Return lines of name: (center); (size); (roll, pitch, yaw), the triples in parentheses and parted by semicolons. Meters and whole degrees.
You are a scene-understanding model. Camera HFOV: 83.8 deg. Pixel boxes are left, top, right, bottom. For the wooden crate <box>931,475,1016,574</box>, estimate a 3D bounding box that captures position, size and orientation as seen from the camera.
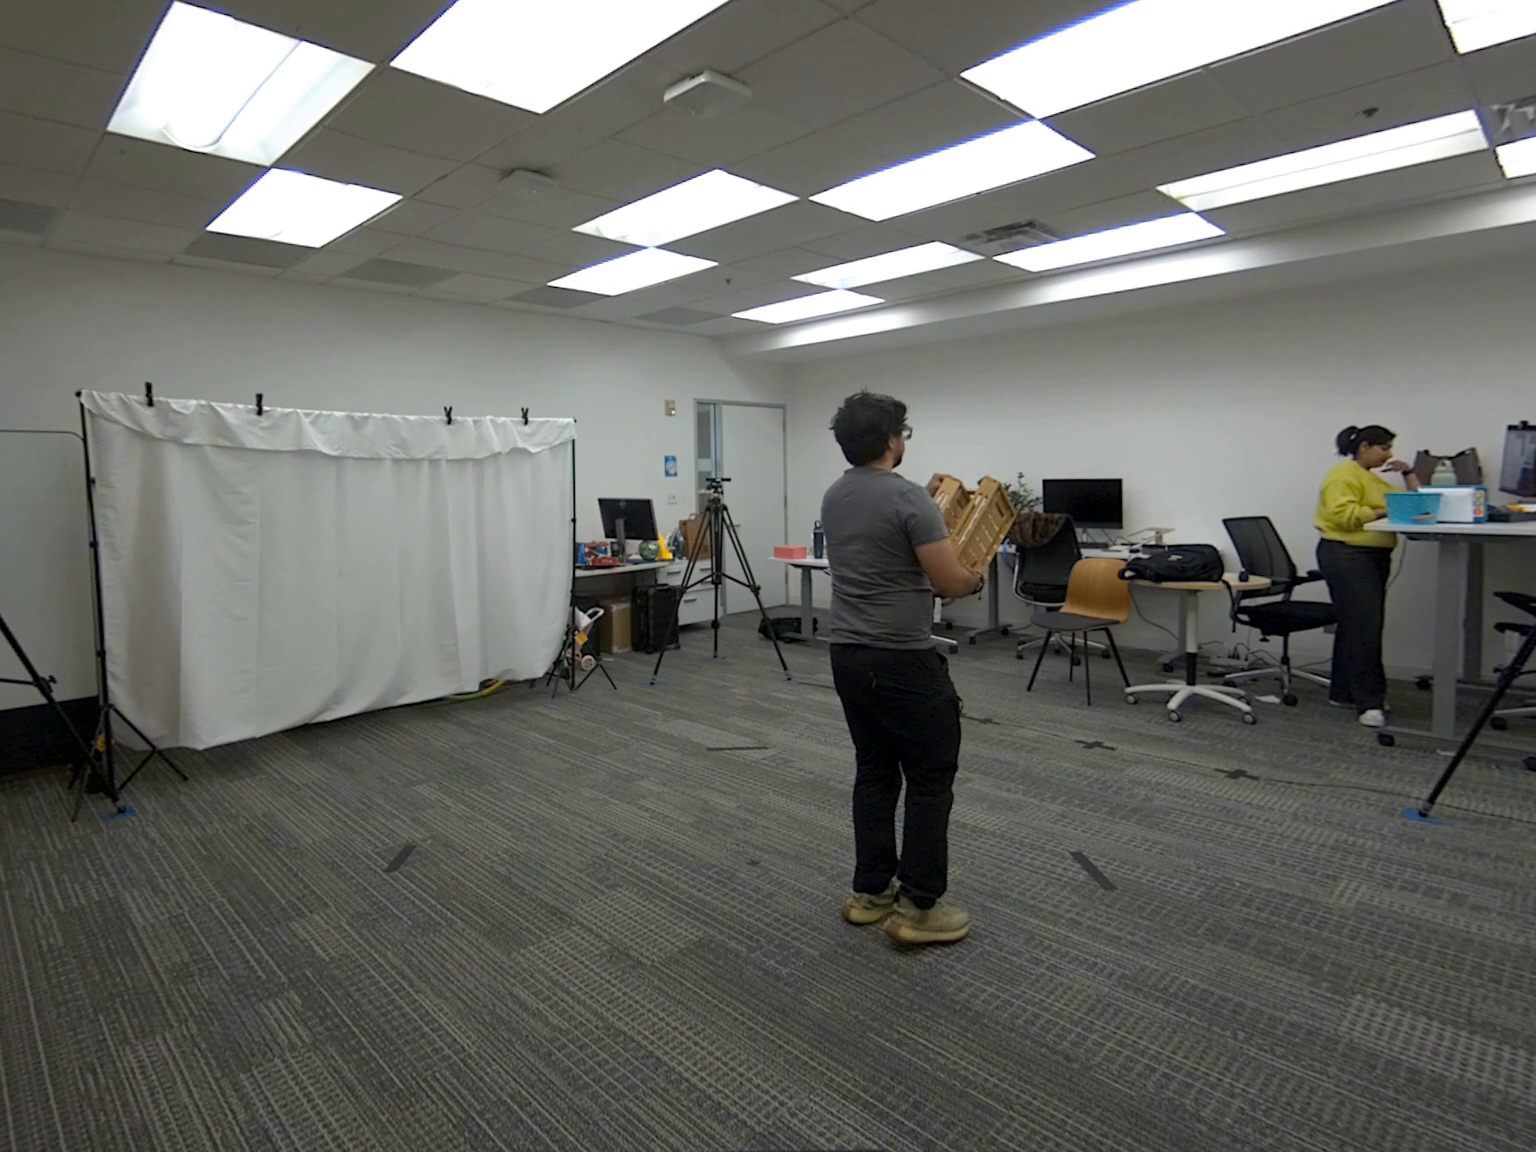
wooden crate: (0.610, -0.162, 2.847); (0.283, 0.325, 0.290); (26, -11, 38)
